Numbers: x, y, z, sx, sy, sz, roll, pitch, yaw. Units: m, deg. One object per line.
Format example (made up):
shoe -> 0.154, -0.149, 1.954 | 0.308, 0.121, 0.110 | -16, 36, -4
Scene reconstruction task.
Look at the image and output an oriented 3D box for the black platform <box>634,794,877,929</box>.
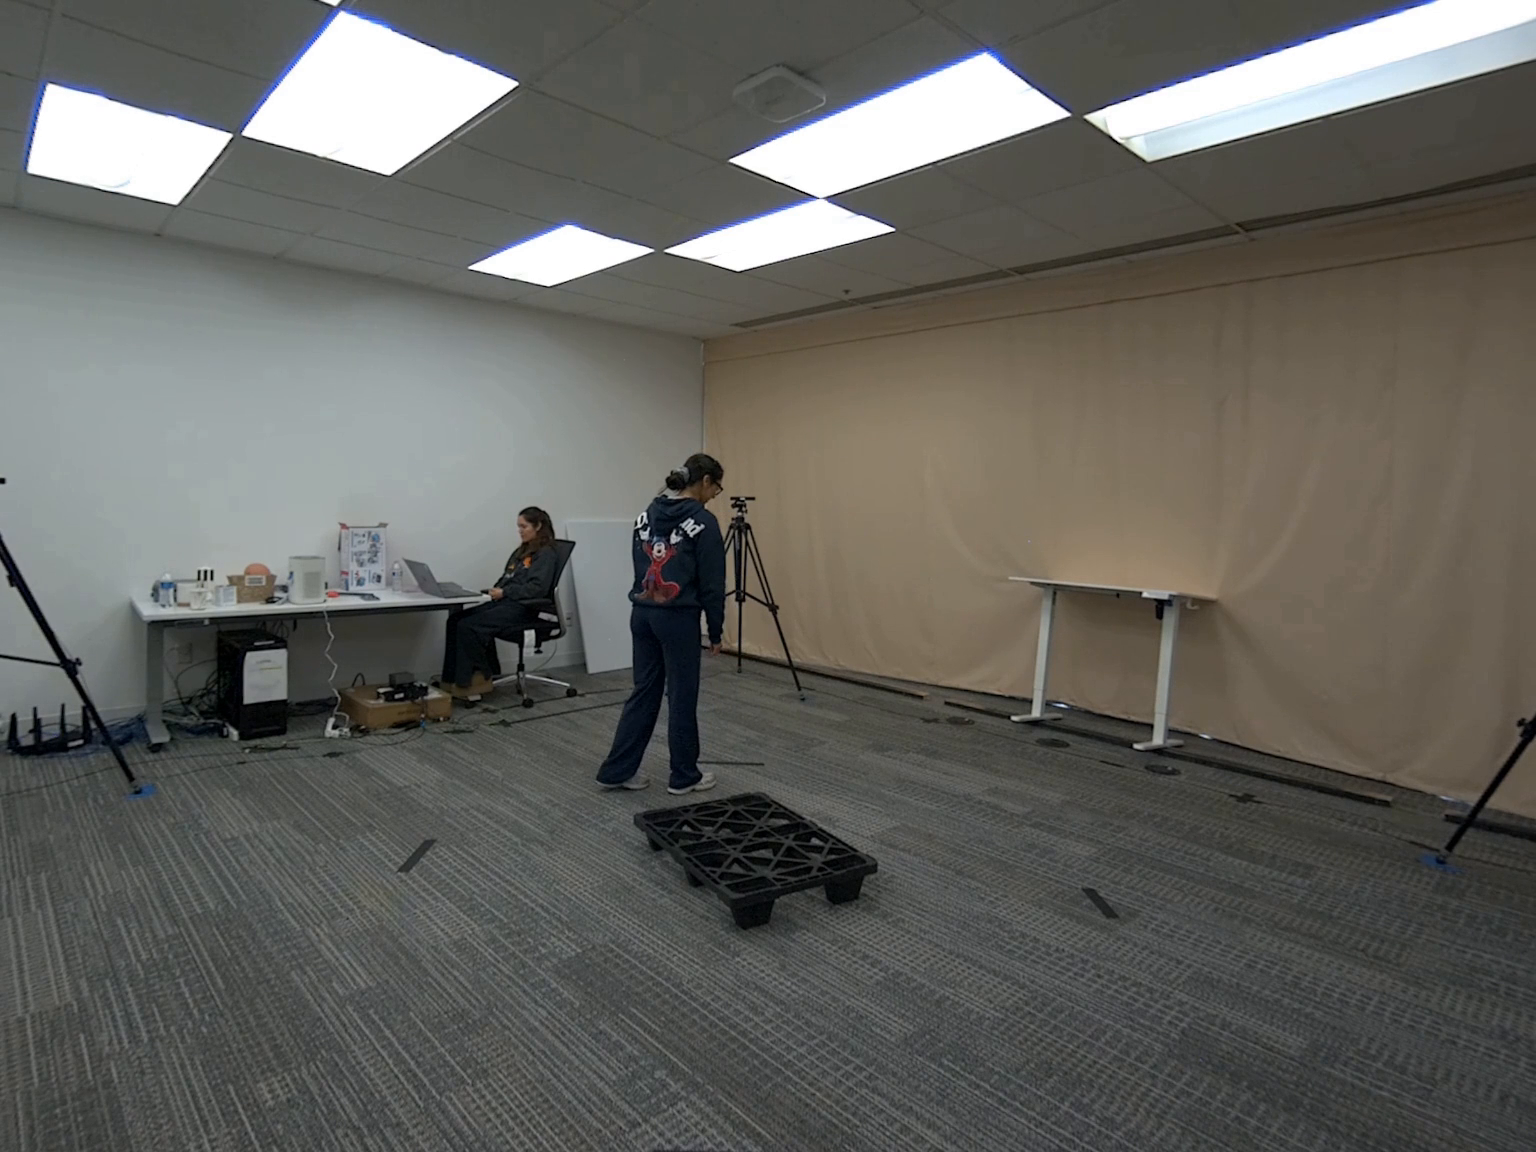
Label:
black platform -> -0.081, 1.038, 3.143 | 0.592, 0.143, 0.825 | -1, 6, -32
